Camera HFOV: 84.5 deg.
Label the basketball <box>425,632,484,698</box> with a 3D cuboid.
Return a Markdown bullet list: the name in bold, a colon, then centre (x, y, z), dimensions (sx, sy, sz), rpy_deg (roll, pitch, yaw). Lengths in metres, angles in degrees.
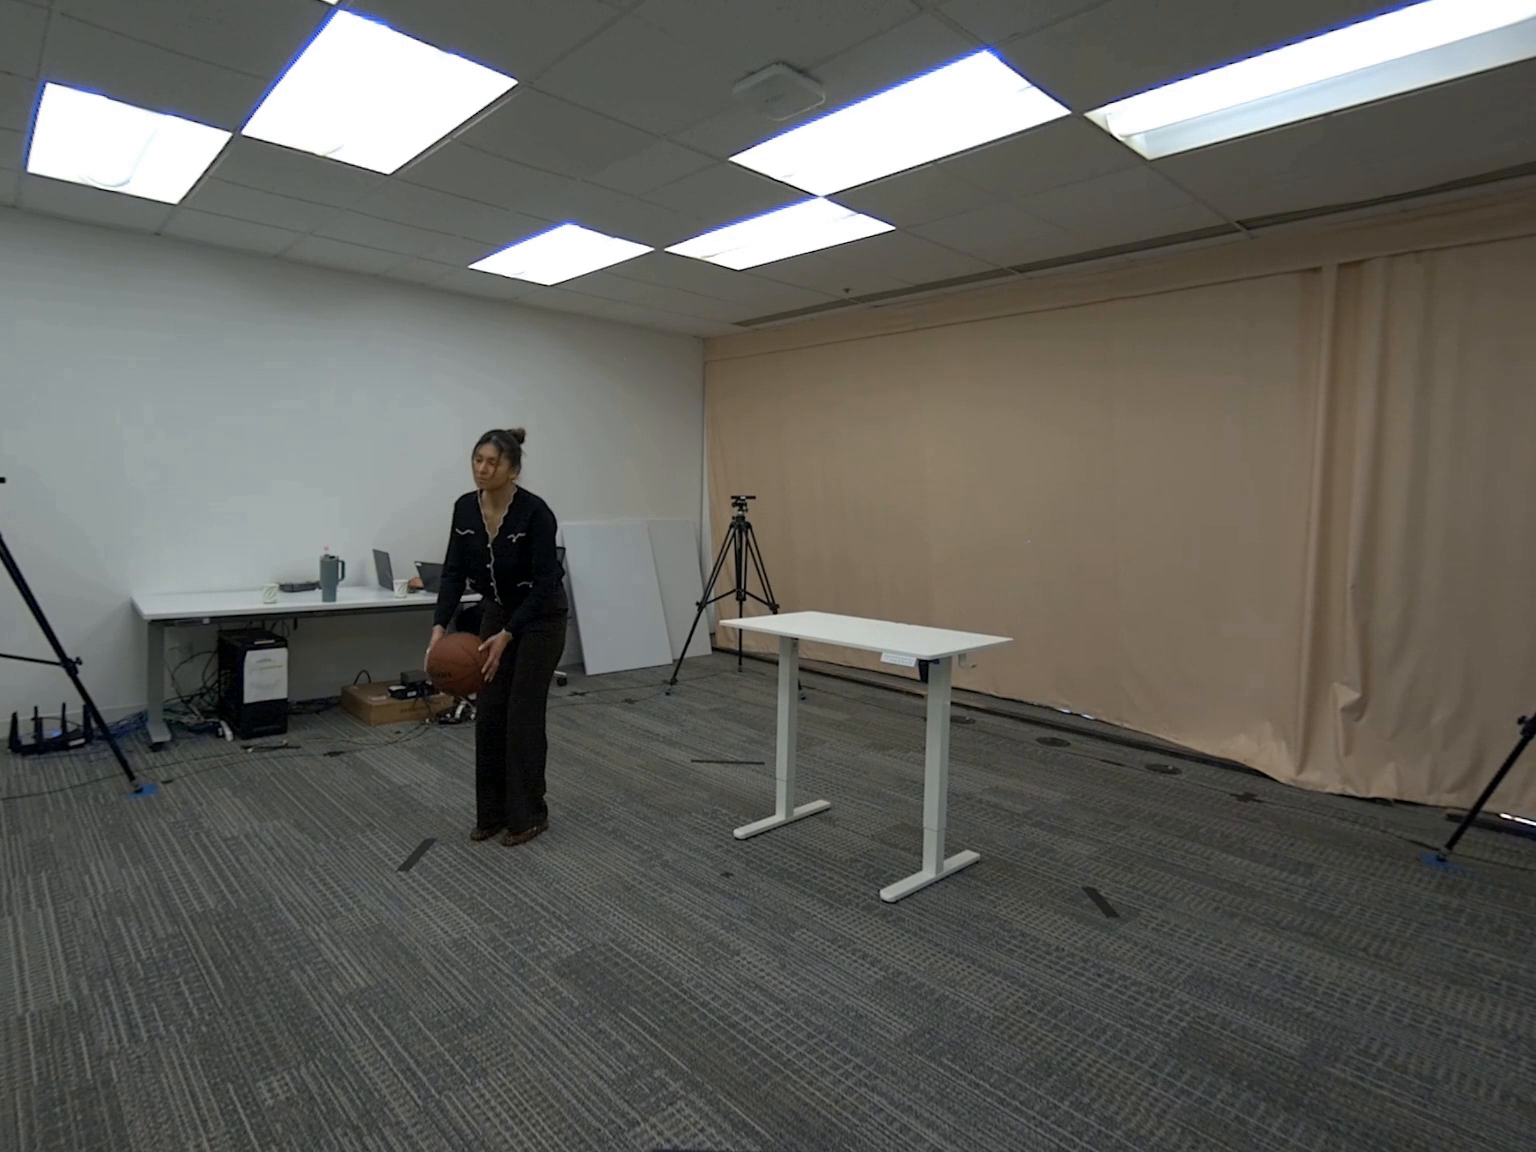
- **basketball**: centre (-1.165, 0.329, 3.135), dimensions (0.236, 0.235, 0.237), rpy_deg (1, 4, -1)
